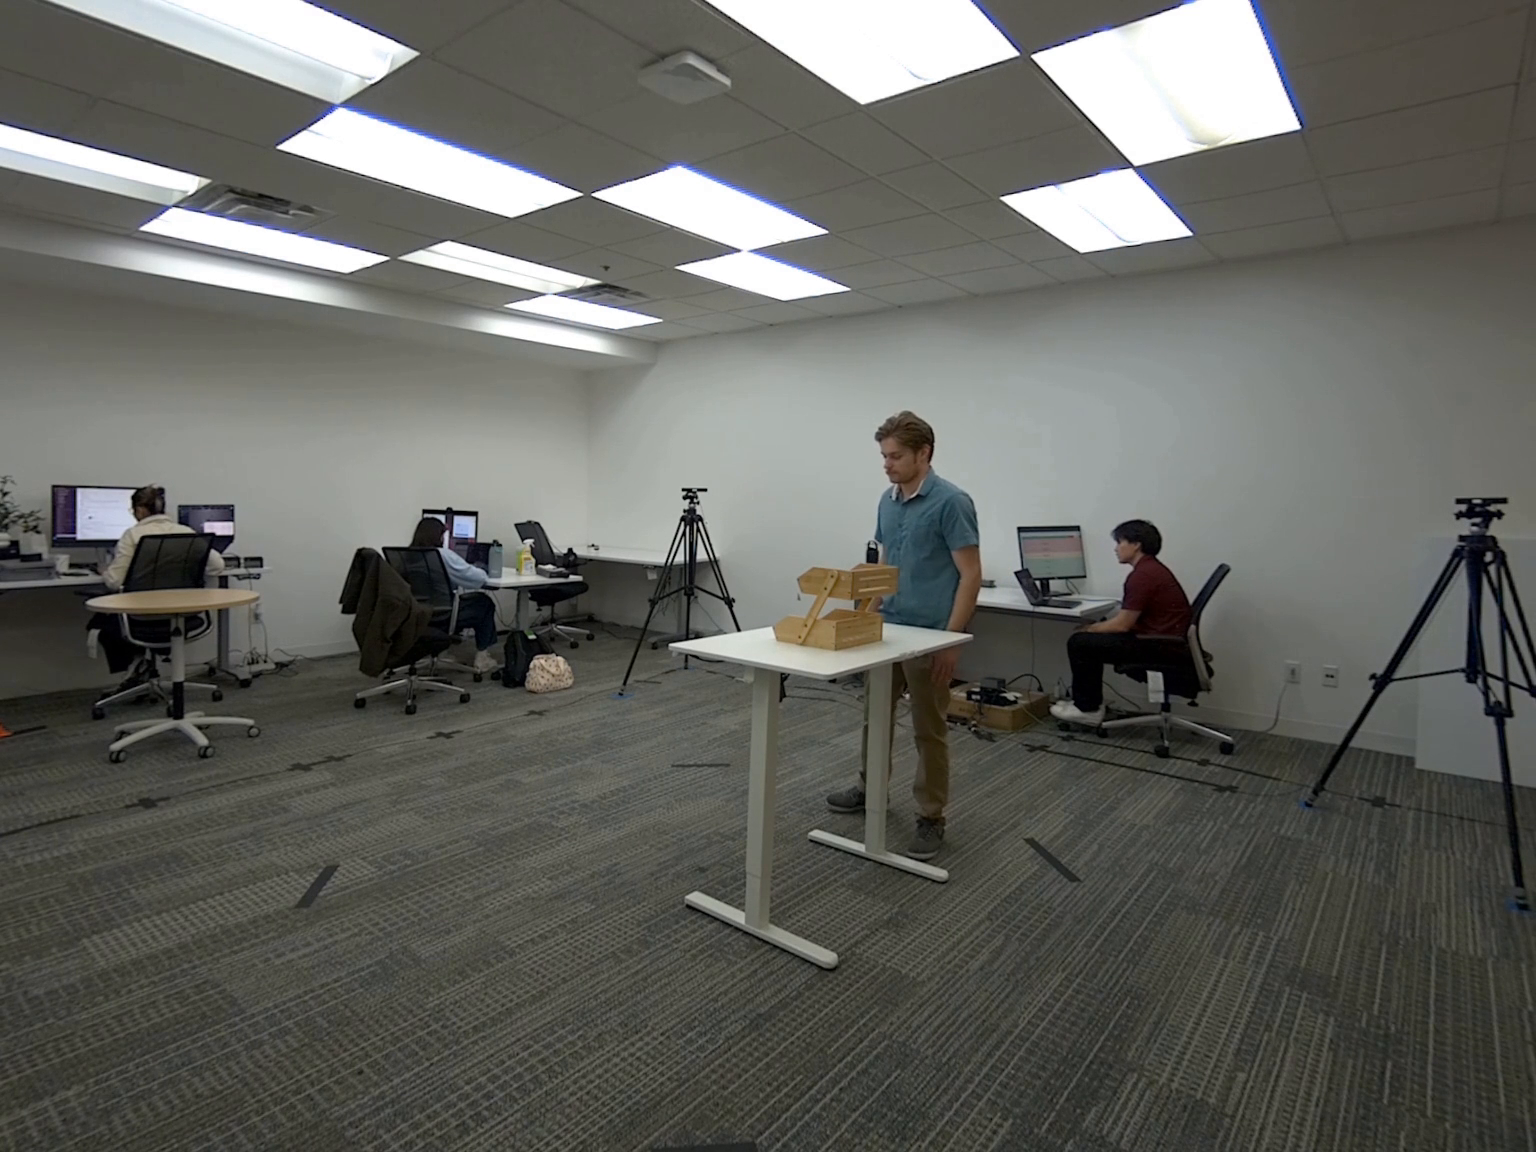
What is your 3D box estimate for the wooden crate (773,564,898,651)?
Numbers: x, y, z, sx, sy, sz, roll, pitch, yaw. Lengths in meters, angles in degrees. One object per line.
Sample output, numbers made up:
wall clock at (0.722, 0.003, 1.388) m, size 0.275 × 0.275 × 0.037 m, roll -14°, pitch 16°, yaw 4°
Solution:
wooden crate at (0.220, 0.085, 2.871) m, size 0.312 × 0.272 × 0.315 m, roll 6°, pitch 6°, yaw 38°
